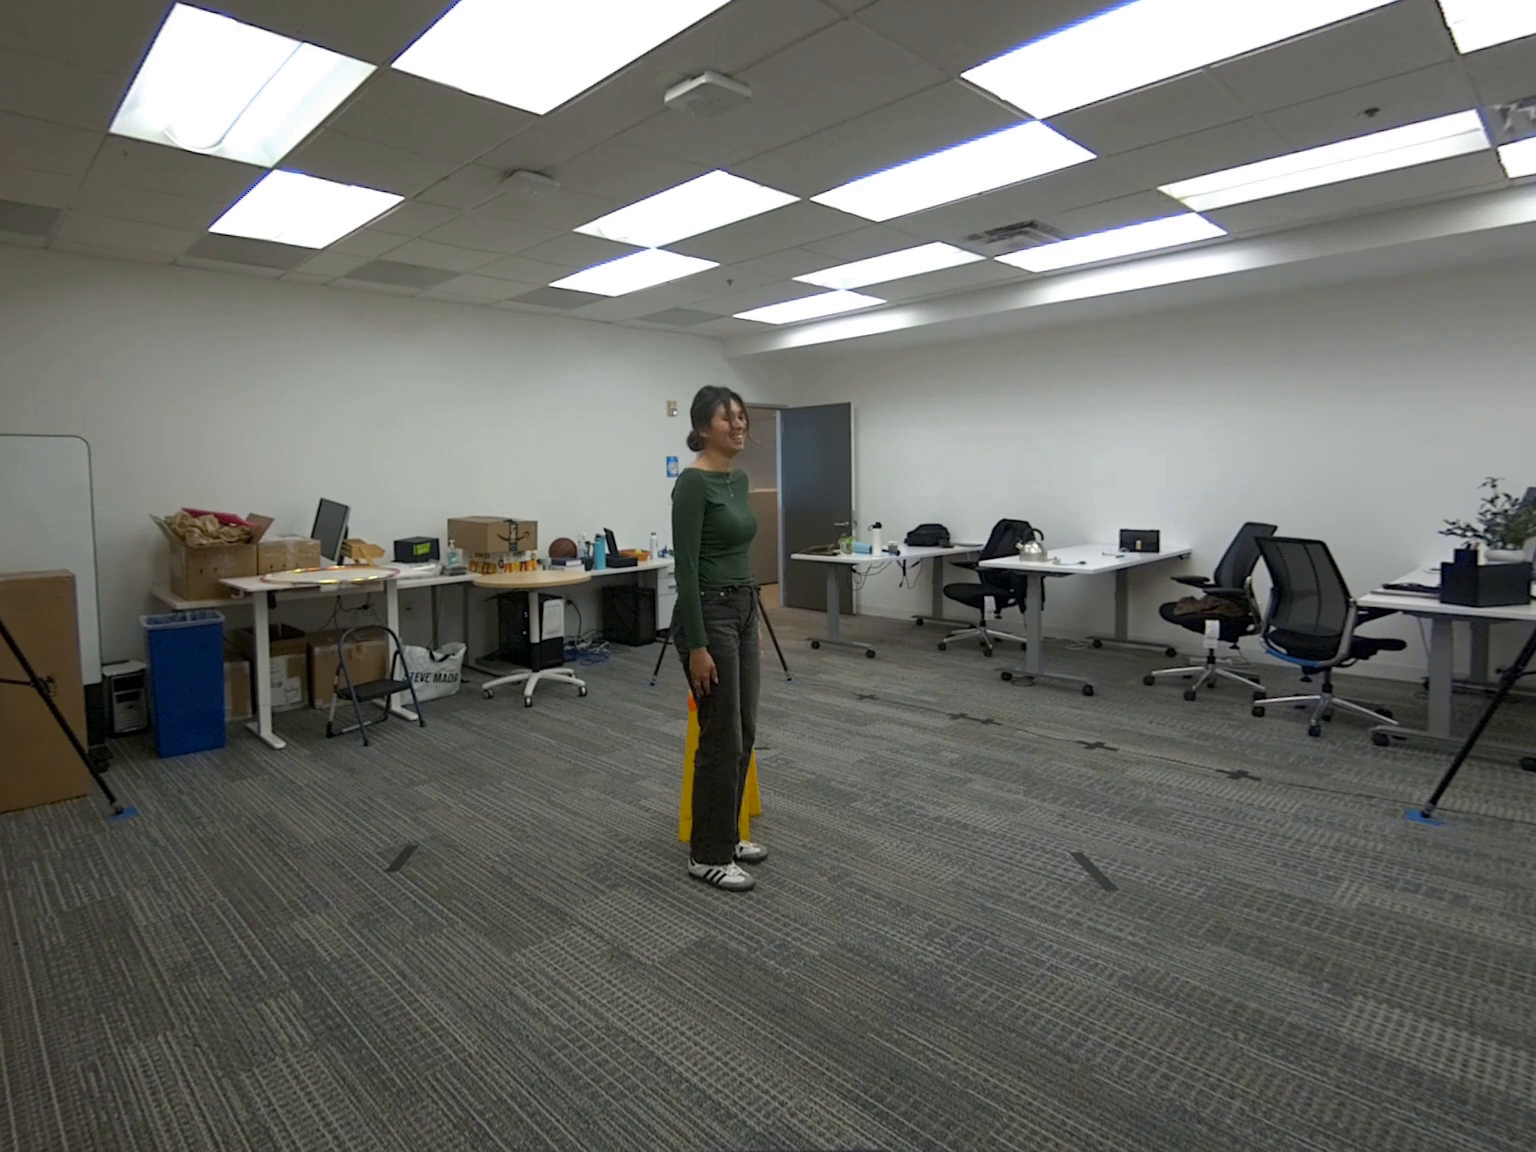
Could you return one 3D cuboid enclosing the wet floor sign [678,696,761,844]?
[{"bbox_3d":[-0.196,0.692,3.411,0.285,0.644,0.288,-2,4,9],"label":"wet floor sign"}]
